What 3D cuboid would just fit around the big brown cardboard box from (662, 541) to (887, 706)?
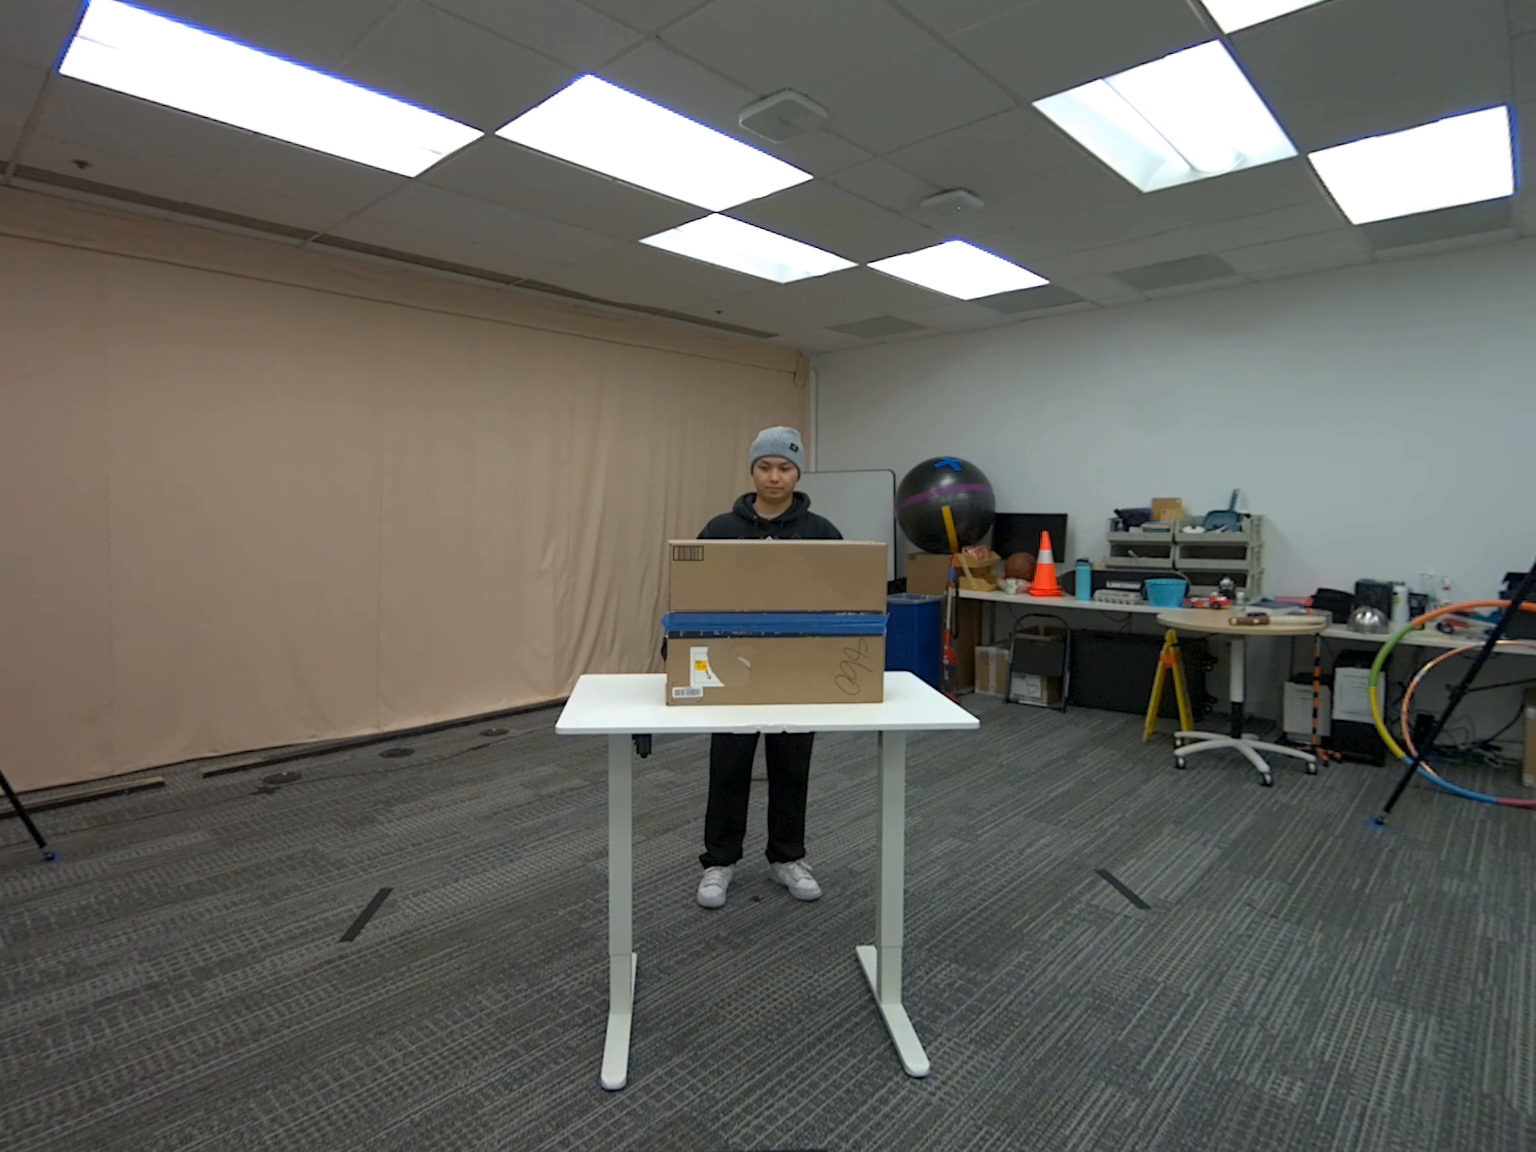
[{"bbox_3d":[0.009,0.115,2.262,0.586,0.416,0.235,0,4,-5],"label":"big brown cardboard box"}]
